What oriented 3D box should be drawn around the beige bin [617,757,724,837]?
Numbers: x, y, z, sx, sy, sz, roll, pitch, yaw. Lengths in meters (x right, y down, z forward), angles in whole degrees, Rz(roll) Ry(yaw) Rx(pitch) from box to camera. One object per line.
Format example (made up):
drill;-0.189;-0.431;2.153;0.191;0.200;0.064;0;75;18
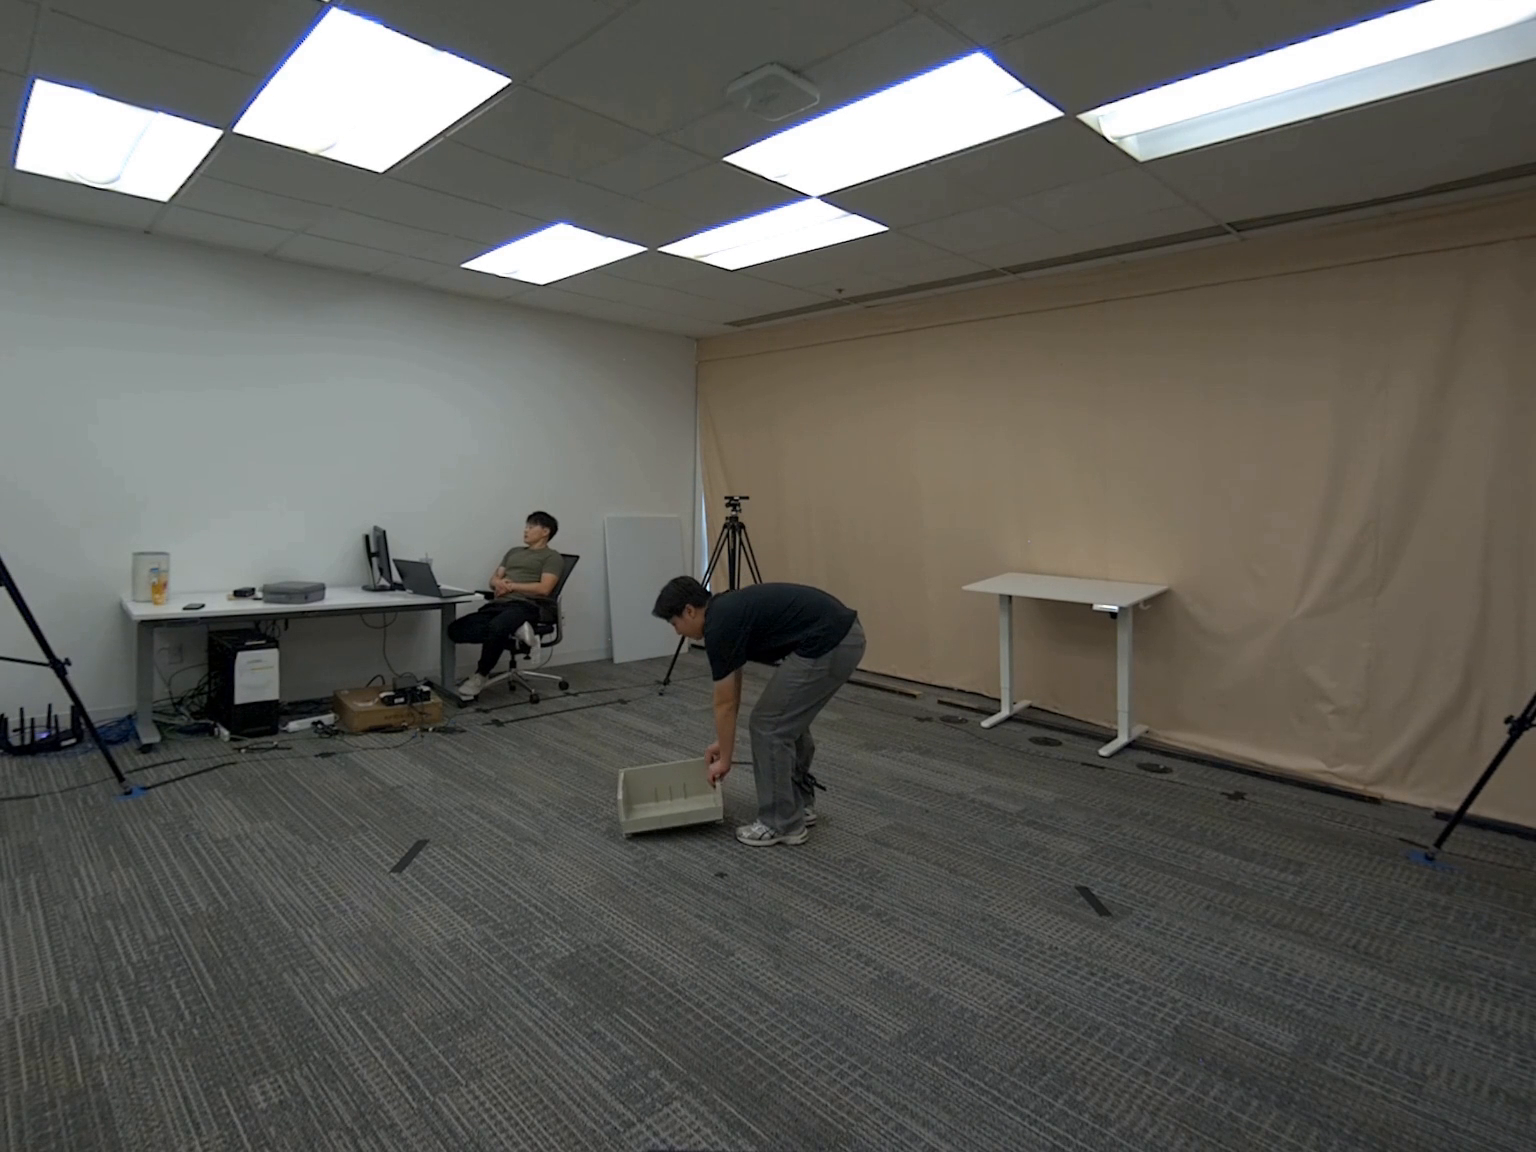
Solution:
beige bin;-0.420;0.946;3.576;0.420;0.188;0.380;-6;4;-8
